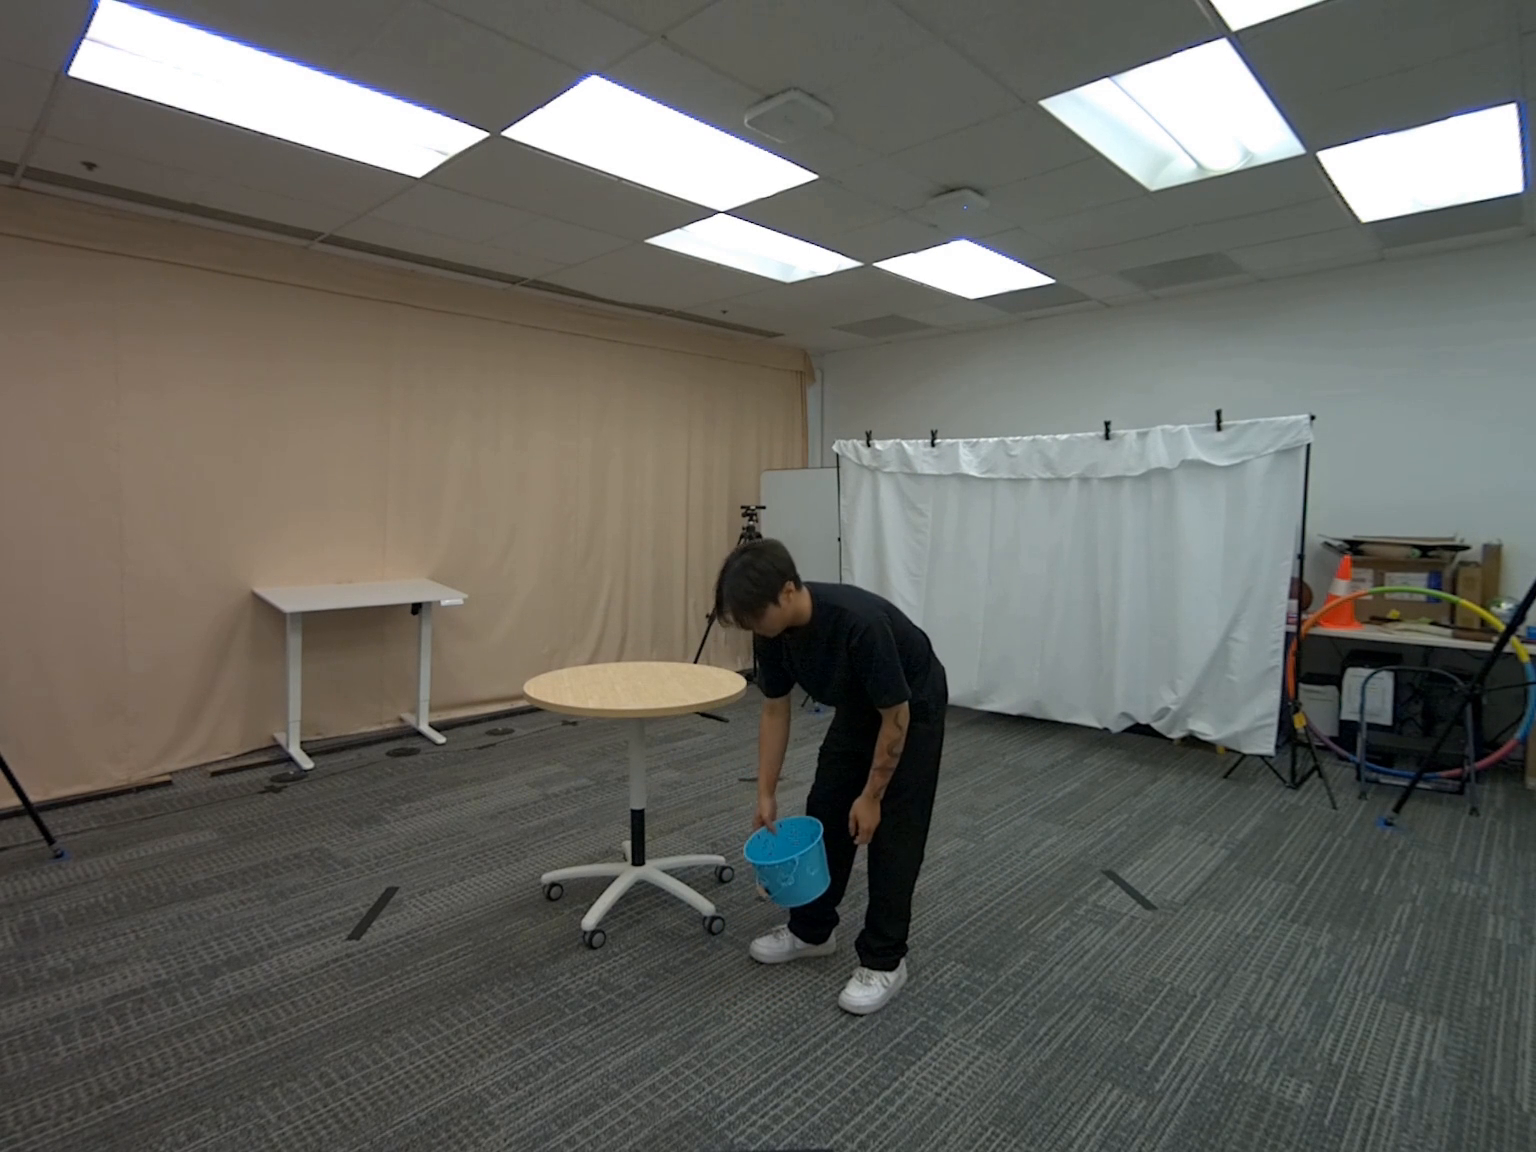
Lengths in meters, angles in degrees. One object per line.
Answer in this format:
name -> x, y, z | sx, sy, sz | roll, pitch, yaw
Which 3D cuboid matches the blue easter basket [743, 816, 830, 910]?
blue easter basket -> 0.059, 0.805, 2.359 | 0.244, 0.155, 0.245 | -16, 7, 0
